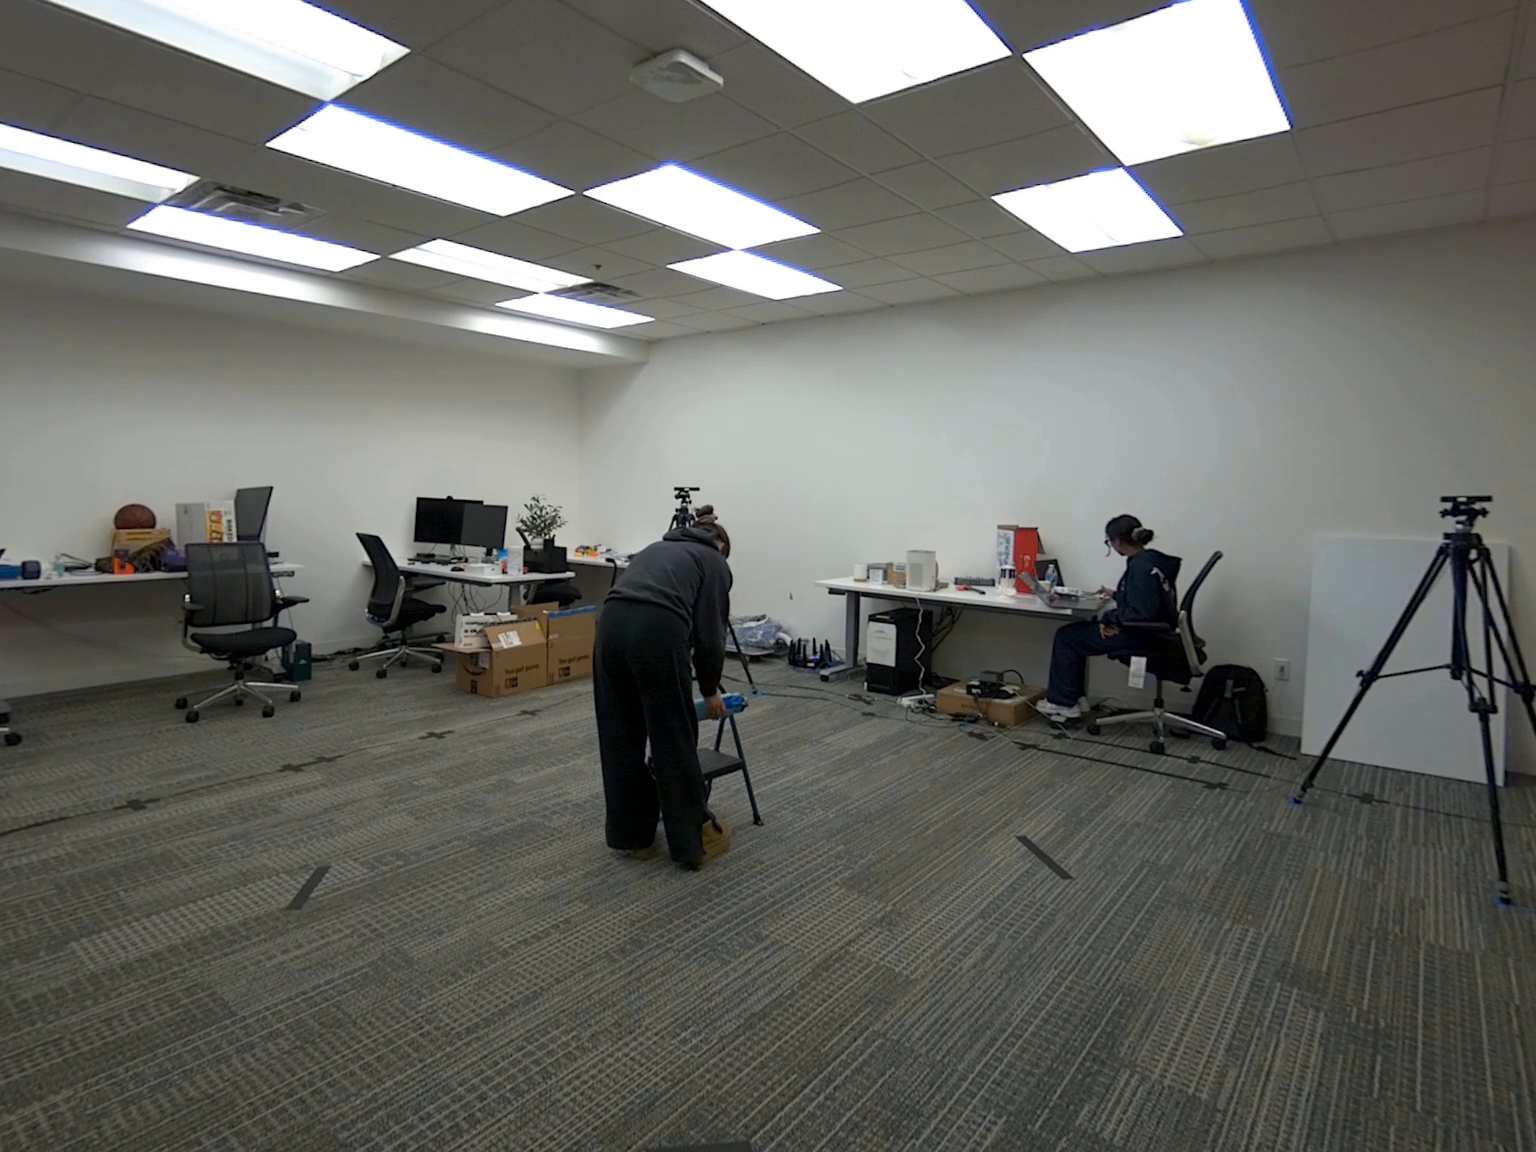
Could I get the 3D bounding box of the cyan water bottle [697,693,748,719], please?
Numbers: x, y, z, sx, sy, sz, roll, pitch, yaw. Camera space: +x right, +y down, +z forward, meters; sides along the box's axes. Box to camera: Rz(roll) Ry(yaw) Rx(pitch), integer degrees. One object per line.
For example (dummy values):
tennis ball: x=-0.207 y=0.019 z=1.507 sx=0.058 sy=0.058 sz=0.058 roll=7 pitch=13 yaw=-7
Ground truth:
cyan water bottle: x=-0.217 y=0.514 z=3.418 sx=0.284 sy=0.092 sz=0.092 roll=-11 pitch=4 yaw=2
